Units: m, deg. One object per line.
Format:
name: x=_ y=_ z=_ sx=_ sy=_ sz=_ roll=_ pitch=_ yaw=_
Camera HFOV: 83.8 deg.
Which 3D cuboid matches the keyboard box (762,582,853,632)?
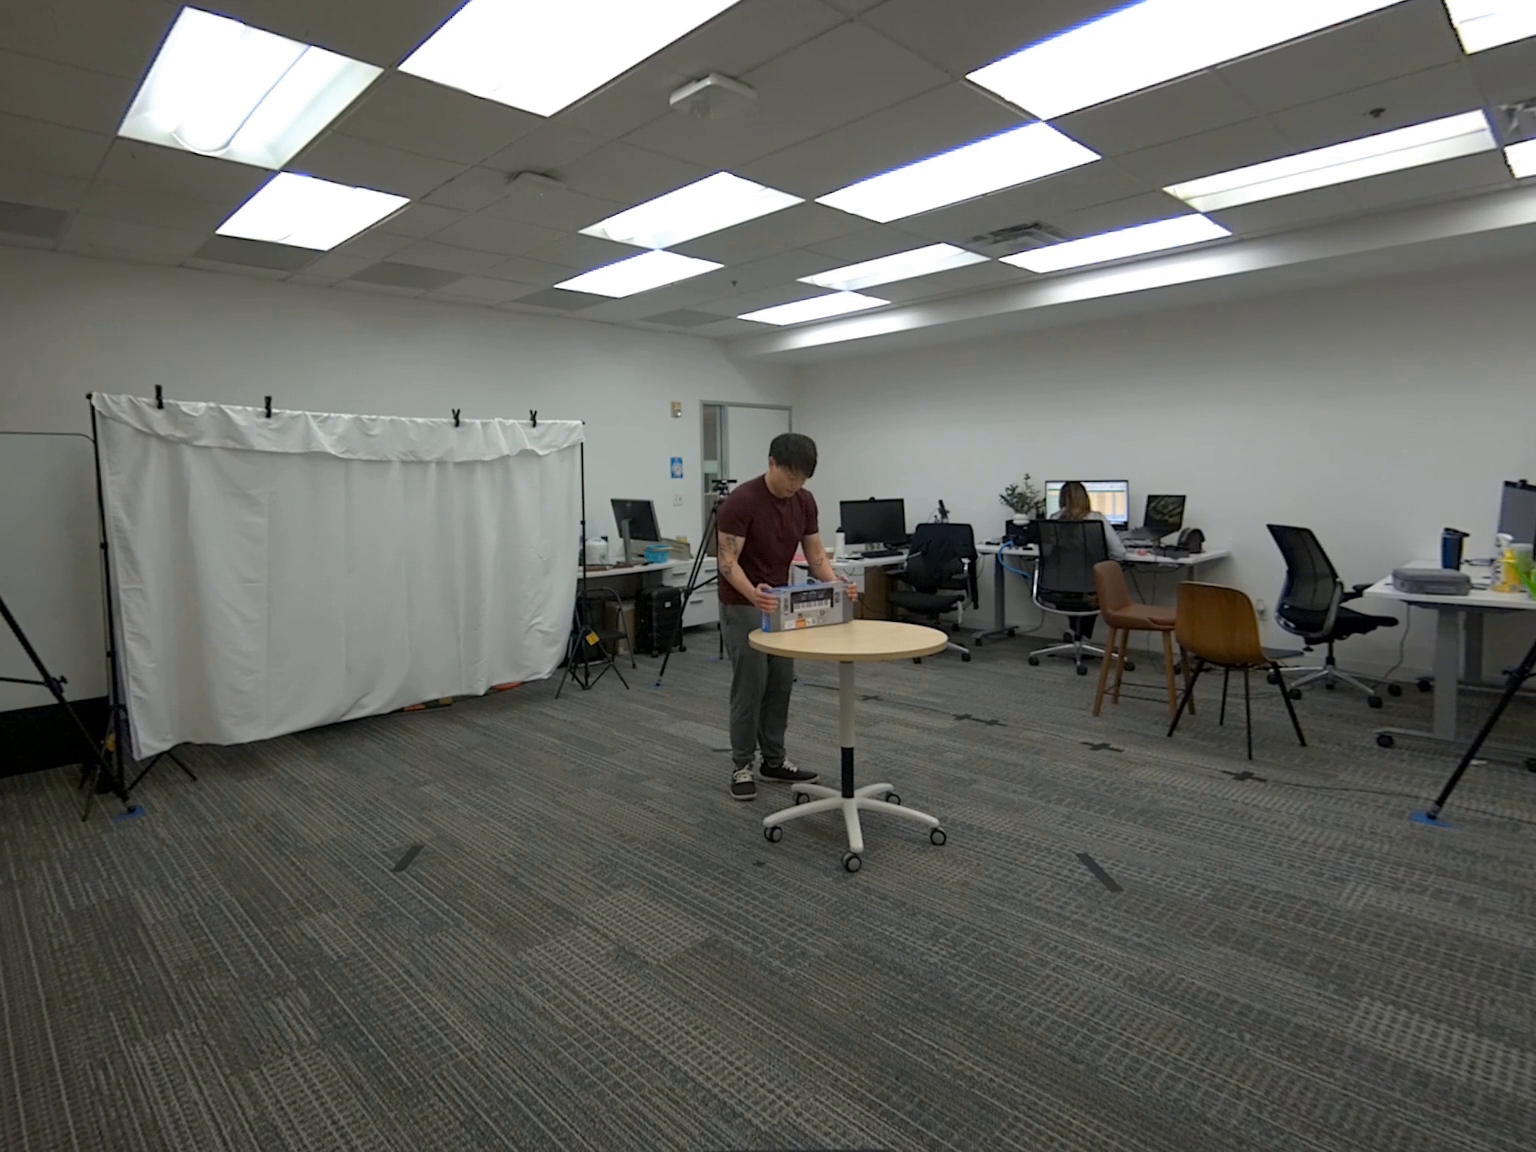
keyboard box: x=0.168 y=0.120 z=3.548 sx=0.426 sy=0.175 sz=0.061 roll=-5 pitch=5 yaw=-33
